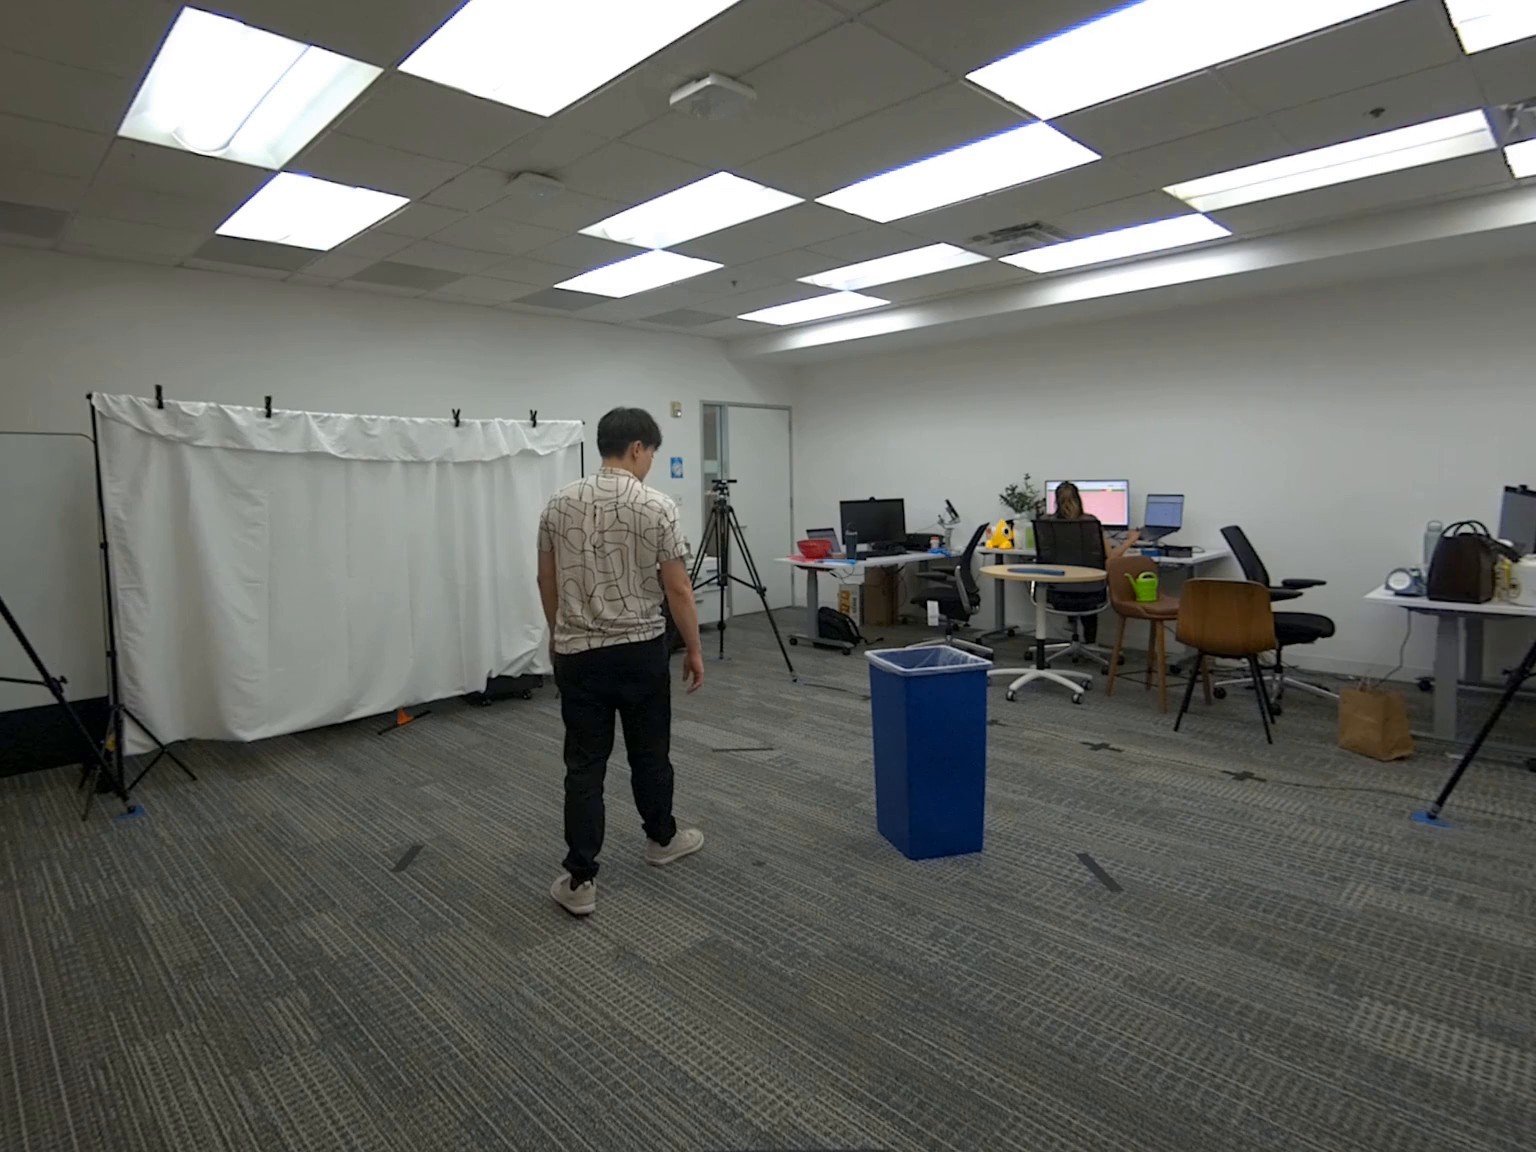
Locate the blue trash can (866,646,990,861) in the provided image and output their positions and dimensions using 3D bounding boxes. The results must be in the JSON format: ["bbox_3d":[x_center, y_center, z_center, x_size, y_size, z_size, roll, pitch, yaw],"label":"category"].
[{"bbox_3d":[0.609,0.661,3.264,0.369,0.711,0.385,-2,4,-16],"label":"blue trash can"}]
